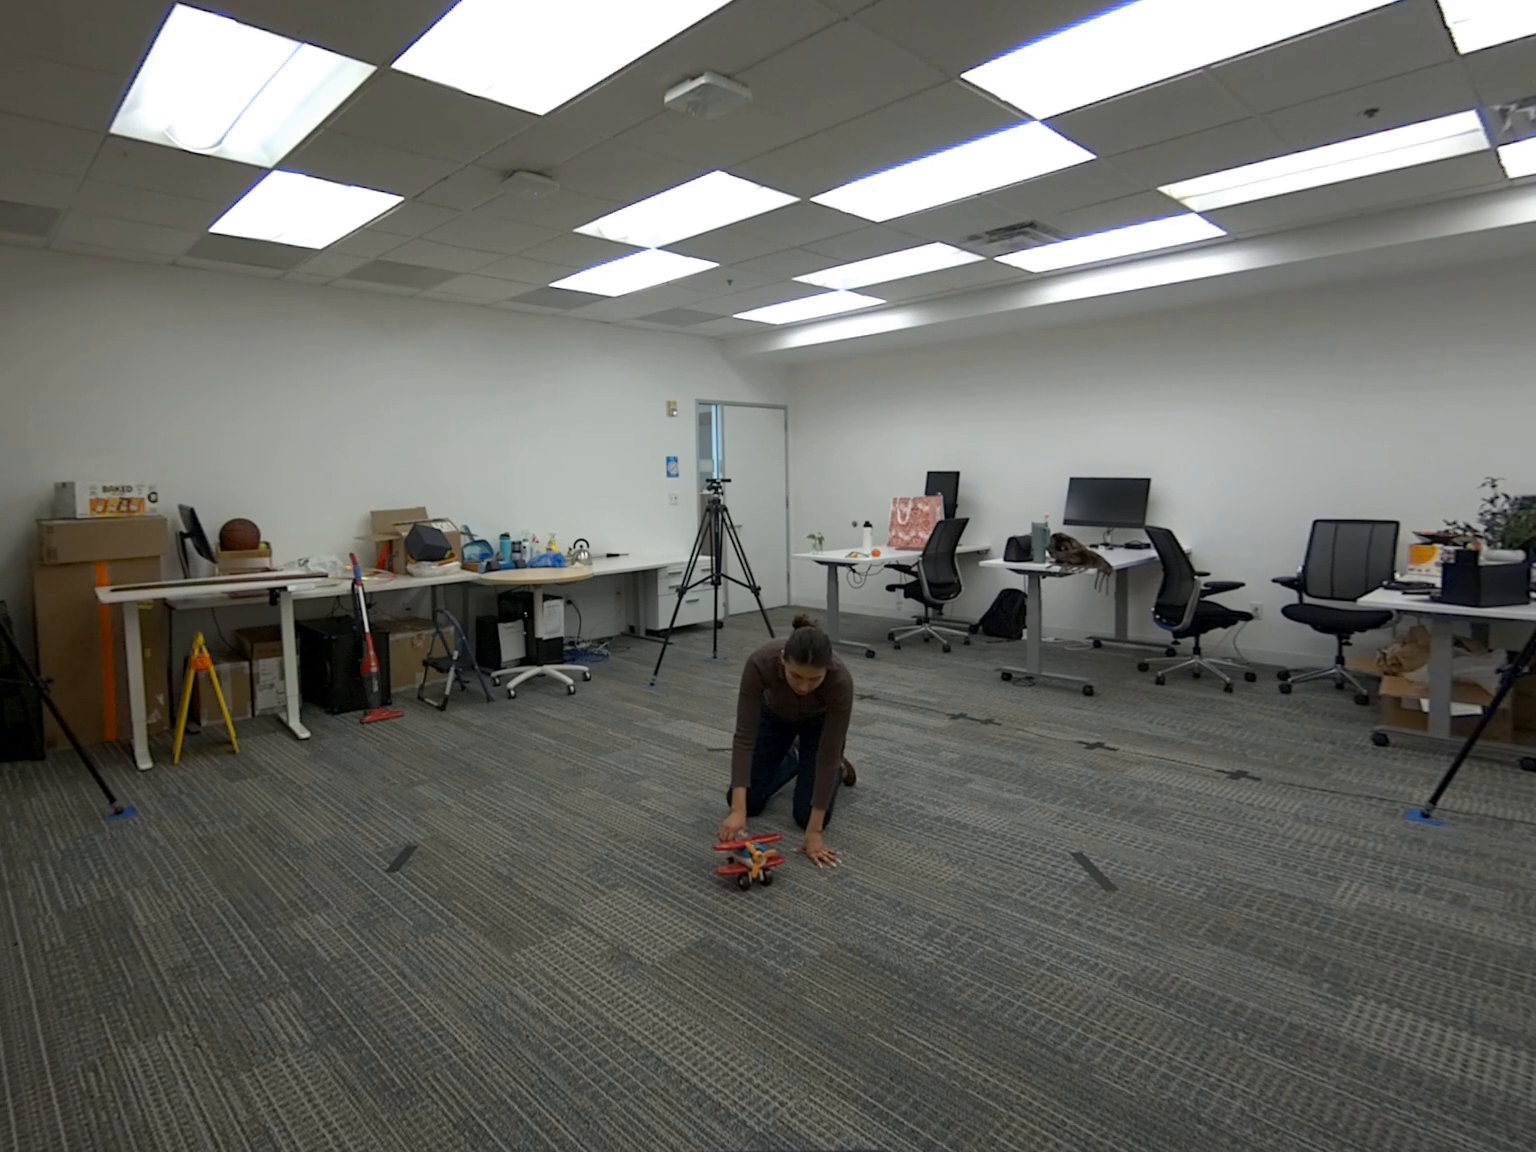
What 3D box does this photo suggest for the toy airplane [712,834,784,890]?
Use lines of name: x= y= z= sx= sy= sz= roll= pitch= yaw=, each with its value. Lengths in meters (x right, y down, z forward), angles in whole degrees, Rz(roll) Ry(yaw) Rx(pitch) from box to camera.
toy airplane: x=-0.096 y=0.989 z=2.998 sx=0.267 sy=0.156 sz=0.245 roll=6 pitch=8 yaw=37
